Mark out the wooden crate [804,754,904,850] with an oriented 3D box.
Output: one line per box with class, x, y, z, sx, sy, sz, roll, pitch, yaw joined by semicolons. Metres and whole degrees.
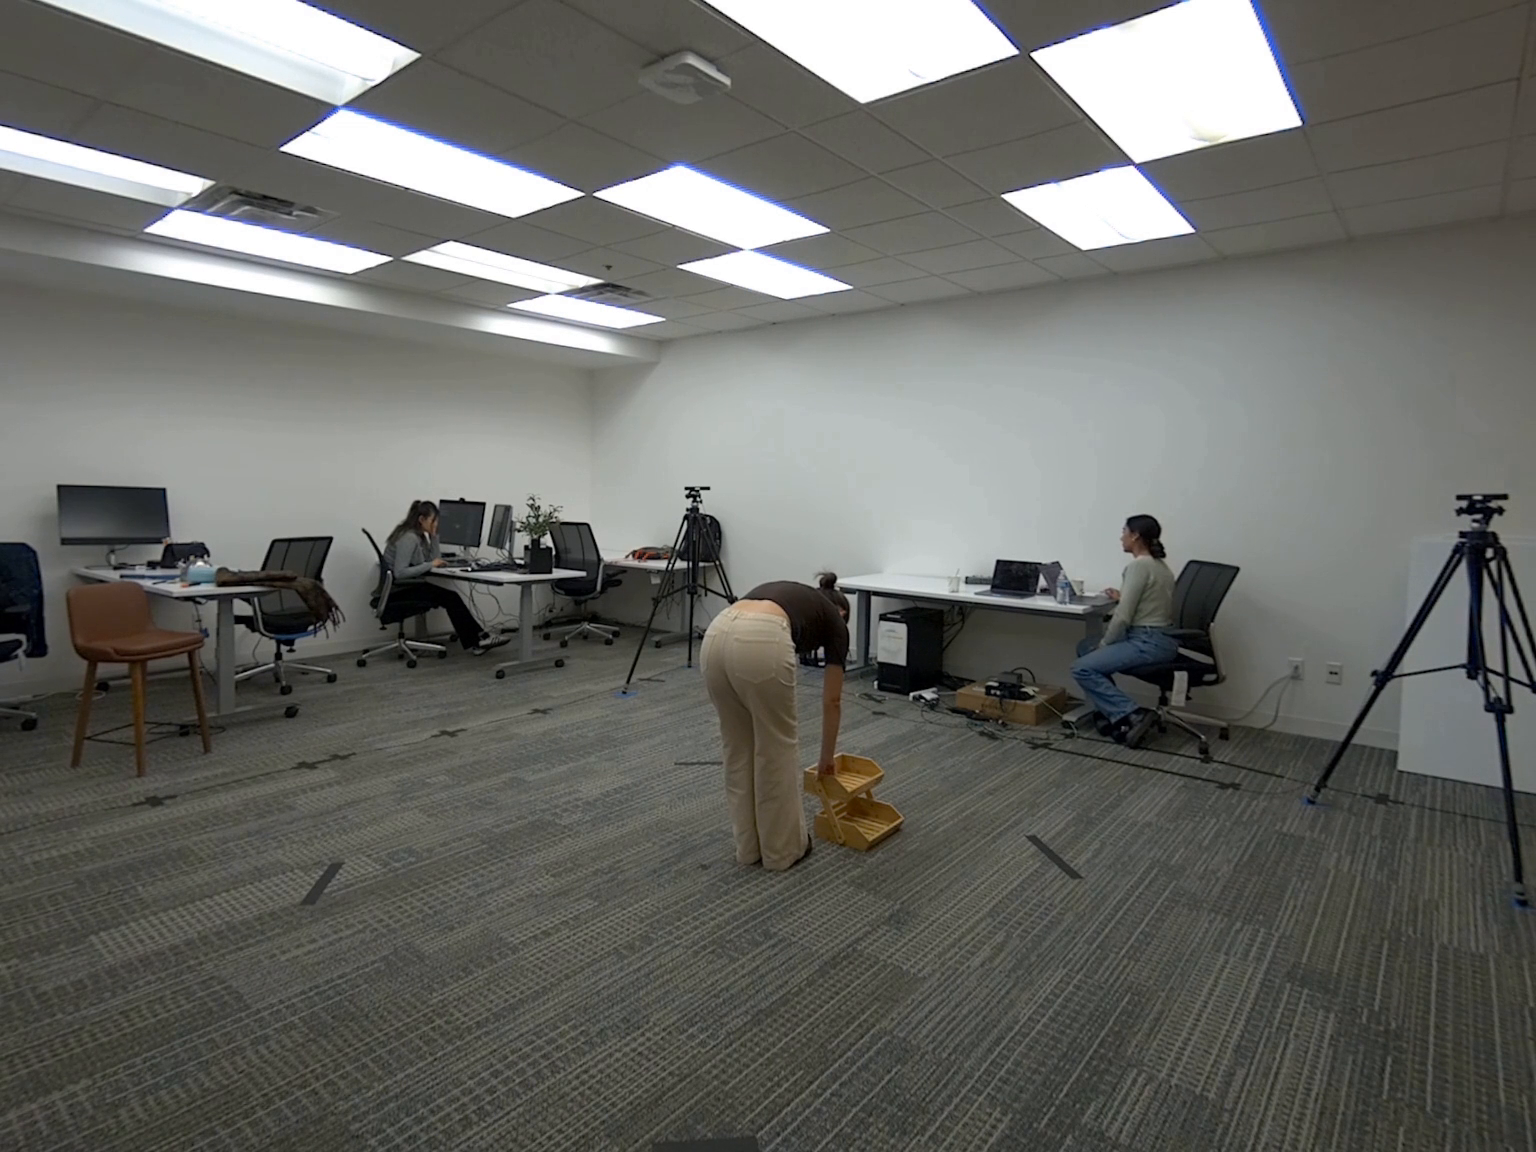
wooden crate;0.346;0.904;3.464;0.312;0.272;0.315;3;5;37
